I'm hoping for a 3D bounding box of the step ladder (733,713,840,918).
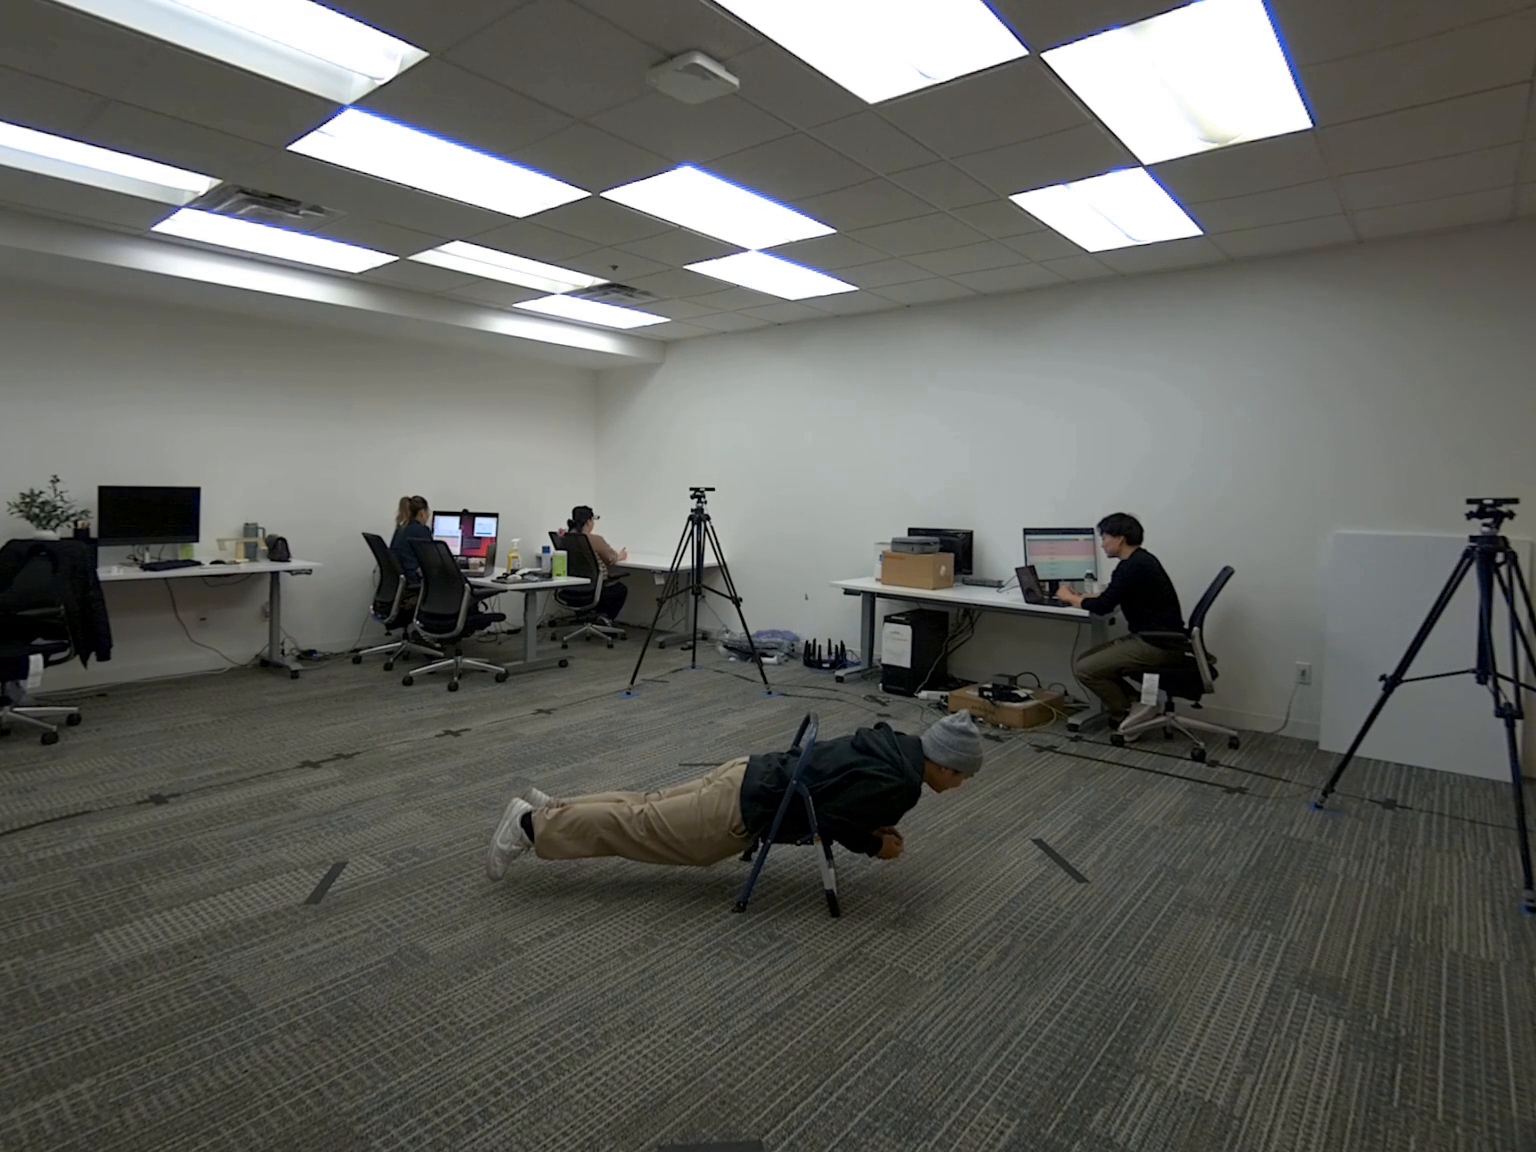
[{"bbox_3d":[0.067,0.788,2.971,0.350,0.604,0.431,3,4,1],"label":"step ladder"}]
